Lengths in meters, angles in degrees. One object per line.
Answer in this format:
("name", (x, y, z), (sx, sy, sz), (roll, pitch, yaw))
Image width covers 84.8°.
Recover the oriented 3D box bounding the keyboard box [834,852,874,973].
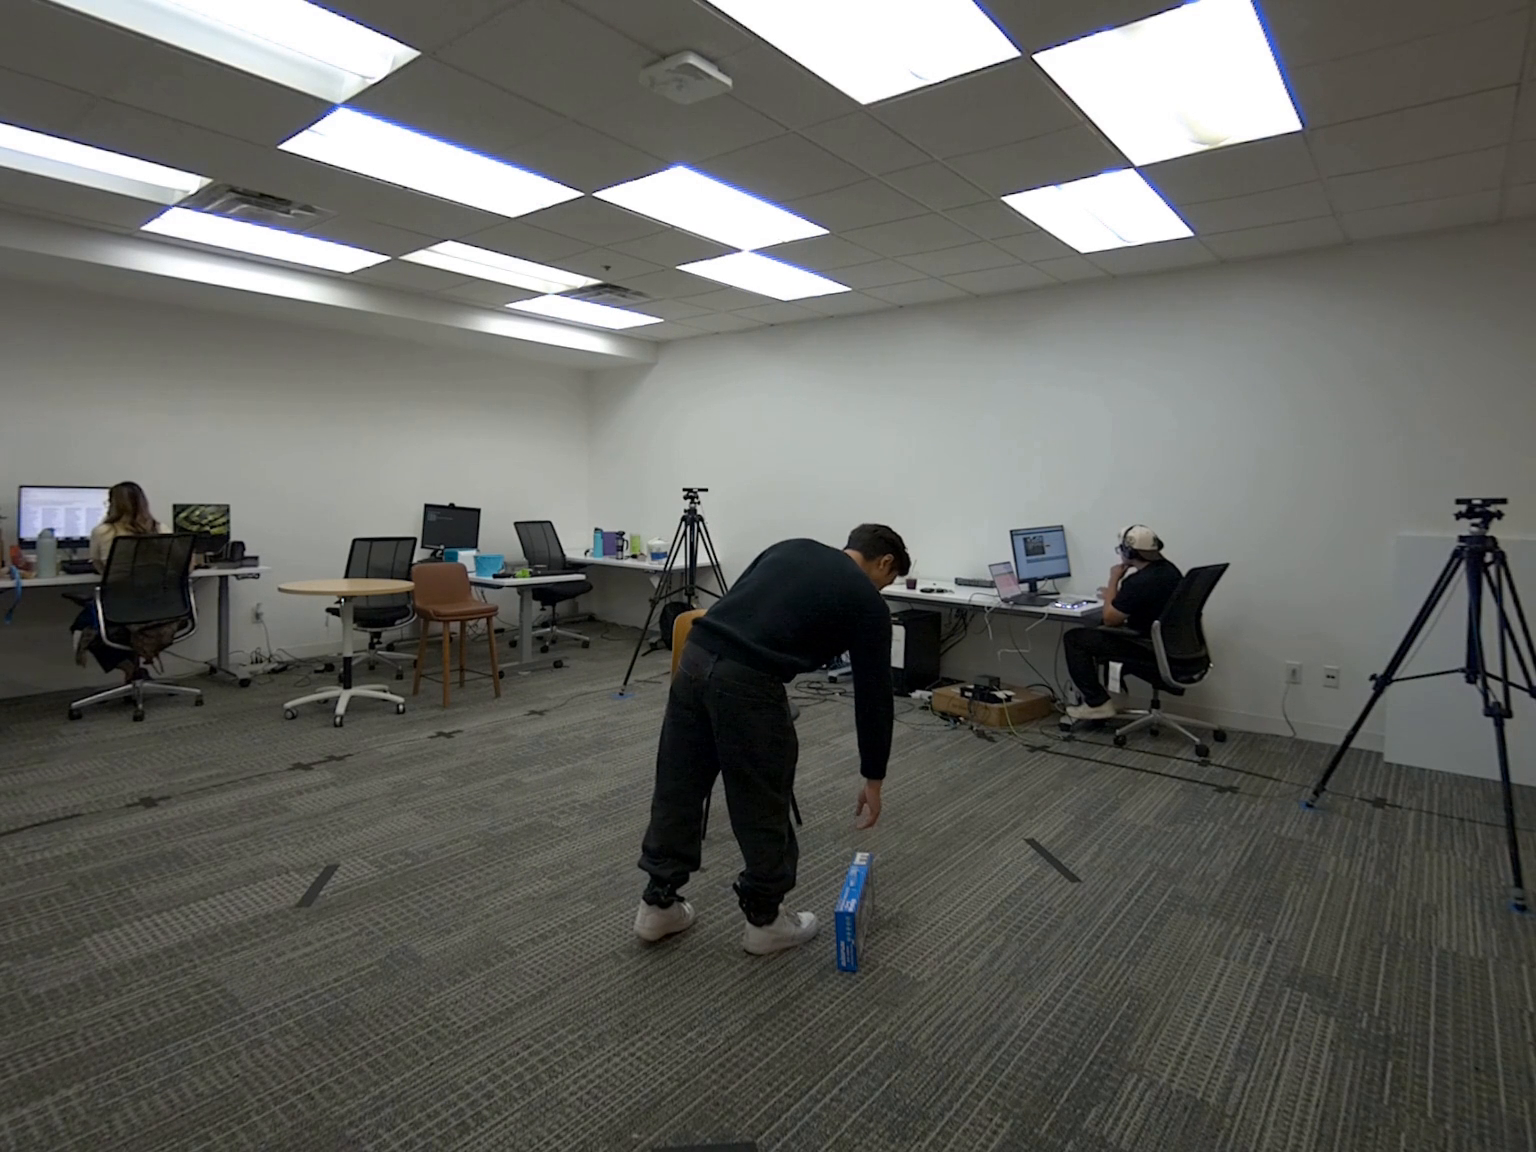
("keyboard box", (0.273, 1.035, 2.669), (0.060, 0.175, 0.432), (-3, 4, 13))
